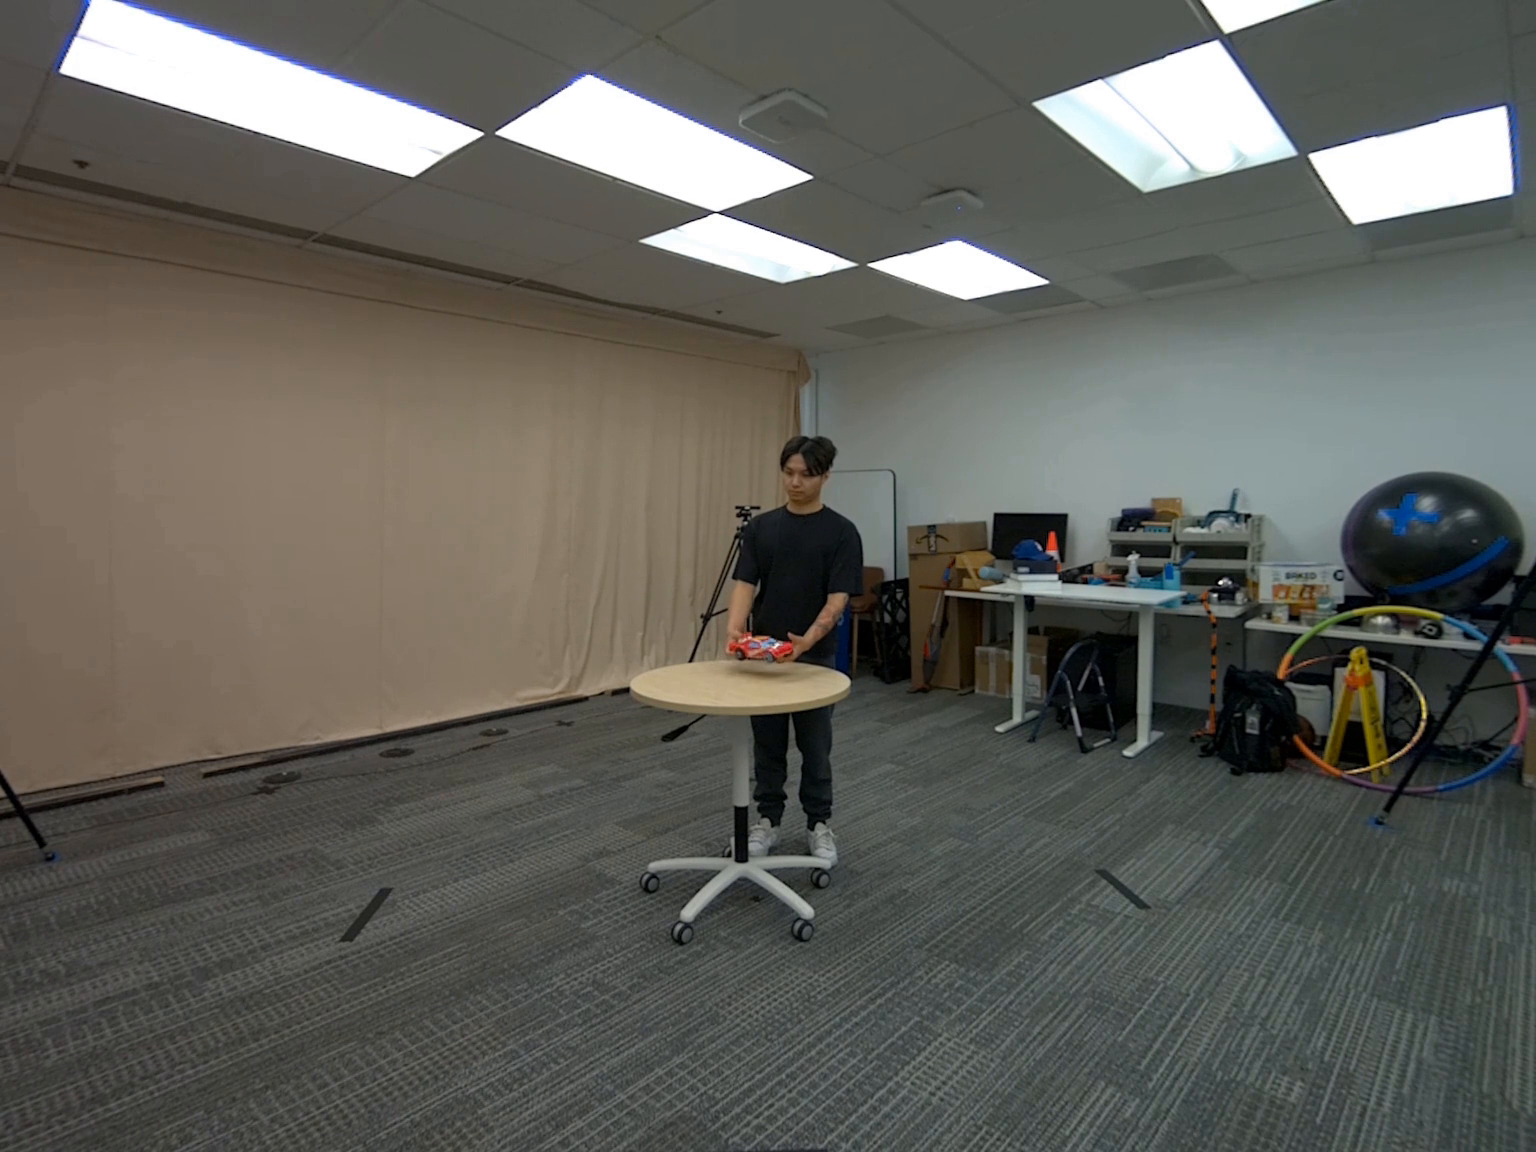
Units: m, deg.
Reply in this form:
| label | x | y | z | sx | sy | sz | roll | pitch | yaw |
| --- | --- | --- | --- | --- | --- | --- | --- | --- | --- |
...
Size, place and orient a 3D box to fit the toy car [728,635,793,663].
| label | x | y | z | sx | sy | sz | roll | pitch | yaw |
| --- | --- | --- | --- | --- | --- | --- | --- | --- | --- |
| toy car | -0.030 | 0.263 | 3.015 | 0.264 | 0.082 | 0.127 | 12 | 20 | 44 |
